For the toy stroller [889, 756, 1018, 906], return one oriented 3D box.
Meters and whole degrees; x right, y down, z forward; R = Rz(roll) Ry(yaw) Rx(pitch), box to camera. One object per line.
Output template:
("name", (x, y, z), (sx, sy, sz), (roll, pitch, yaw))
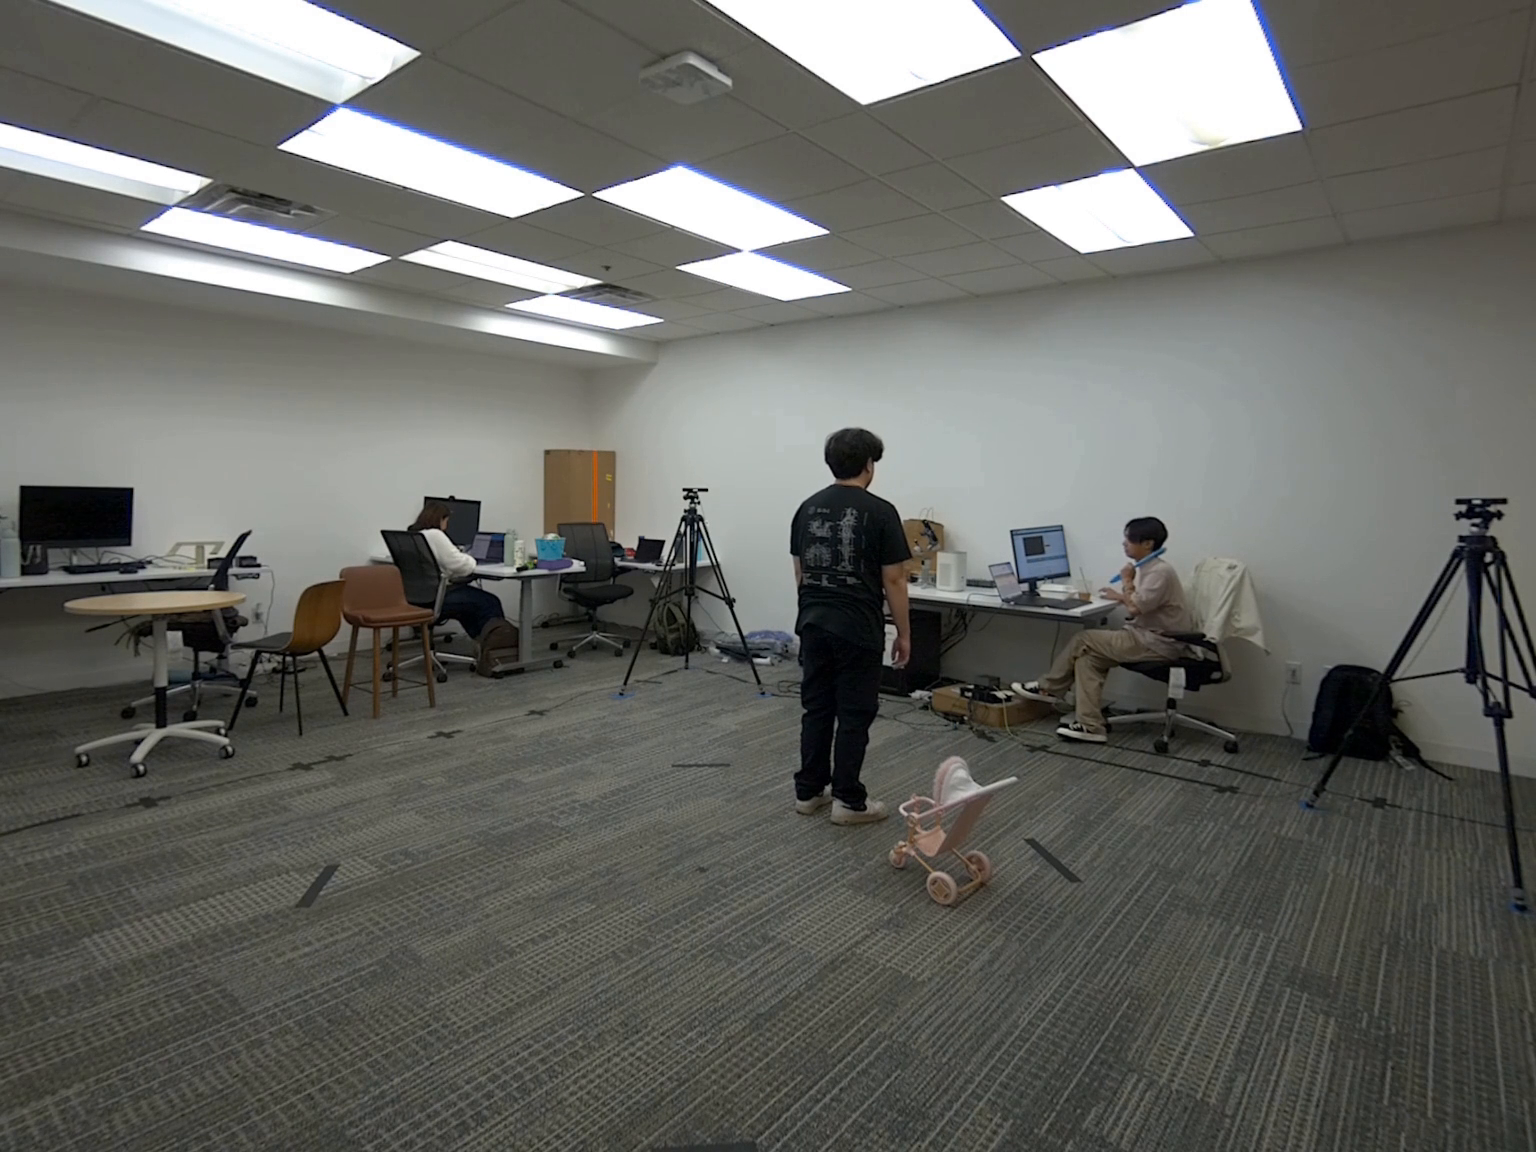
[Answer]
("toy stroller", (0.631, 0.882, 3.018), (0.273, 0.529, 0.355), (-2, 20, -43))
